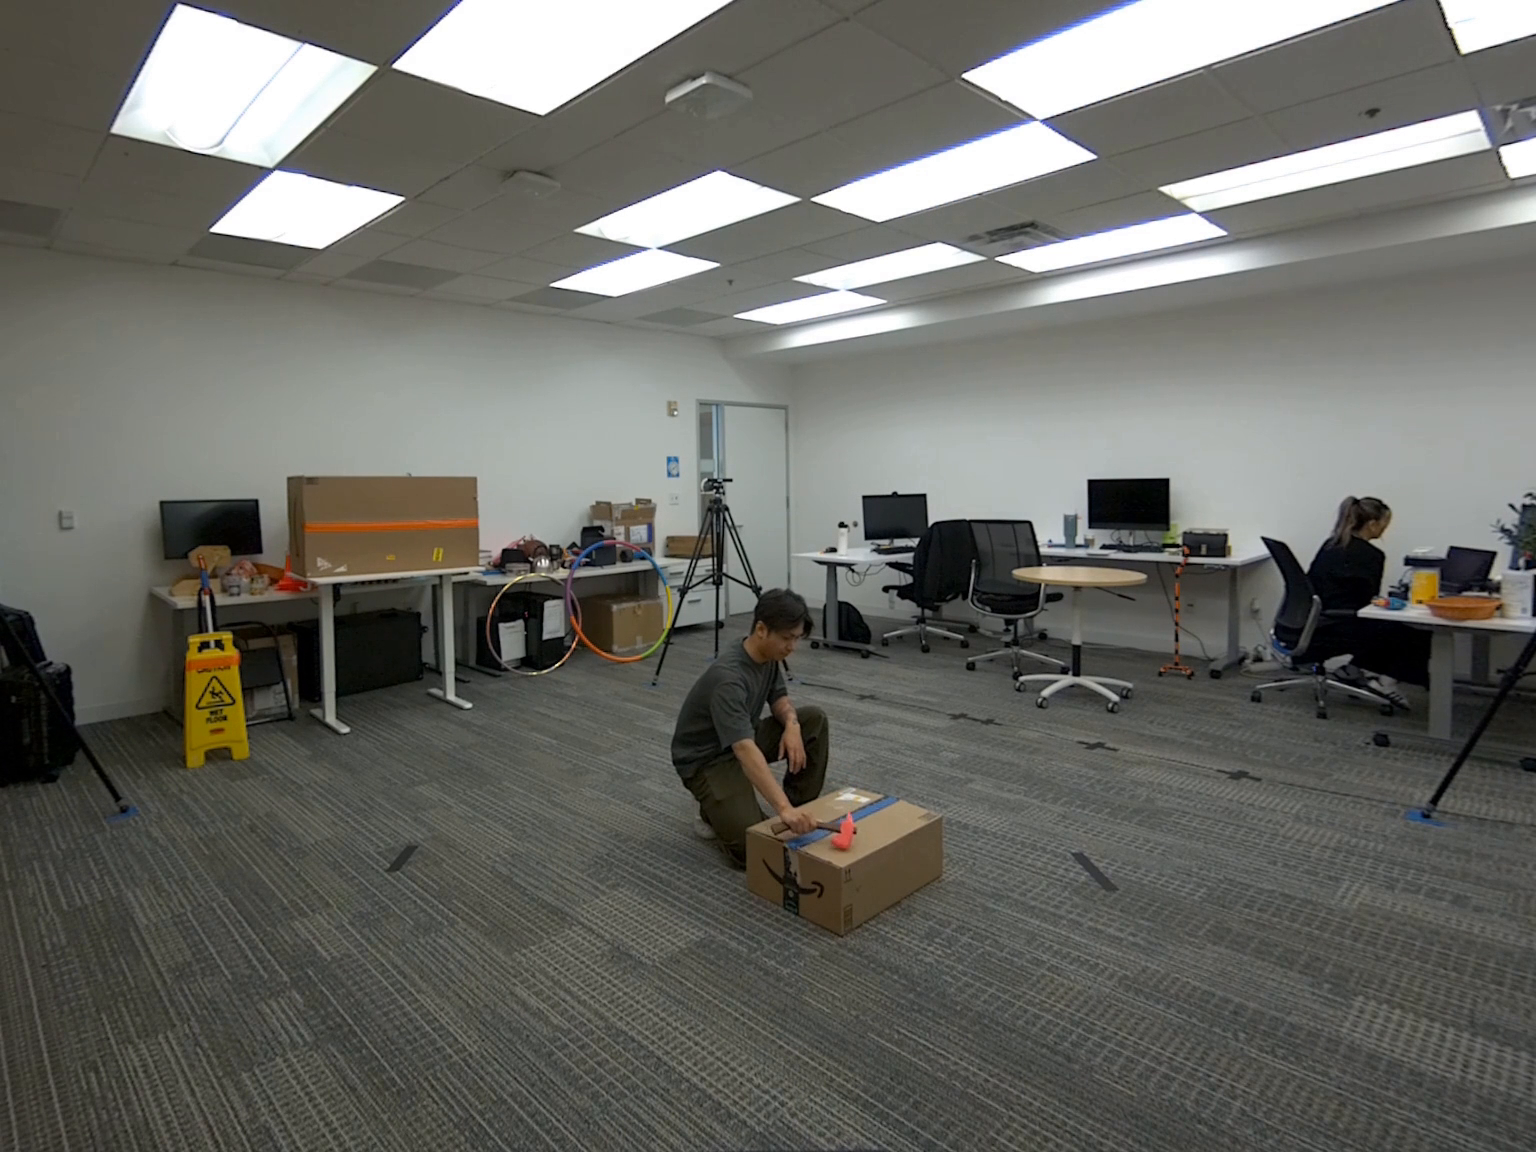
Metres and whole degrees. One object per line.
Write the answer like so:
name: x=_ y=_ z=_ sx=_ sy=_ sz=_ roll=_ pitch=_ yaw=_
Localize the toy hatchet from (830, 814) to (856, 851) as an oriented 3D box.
toy hatchet: x=0.156 y=0.827 z=2.763 sx=0.270 sy=0.029 sz=0.135 roll=-10 pitch=38 yaw=-1
